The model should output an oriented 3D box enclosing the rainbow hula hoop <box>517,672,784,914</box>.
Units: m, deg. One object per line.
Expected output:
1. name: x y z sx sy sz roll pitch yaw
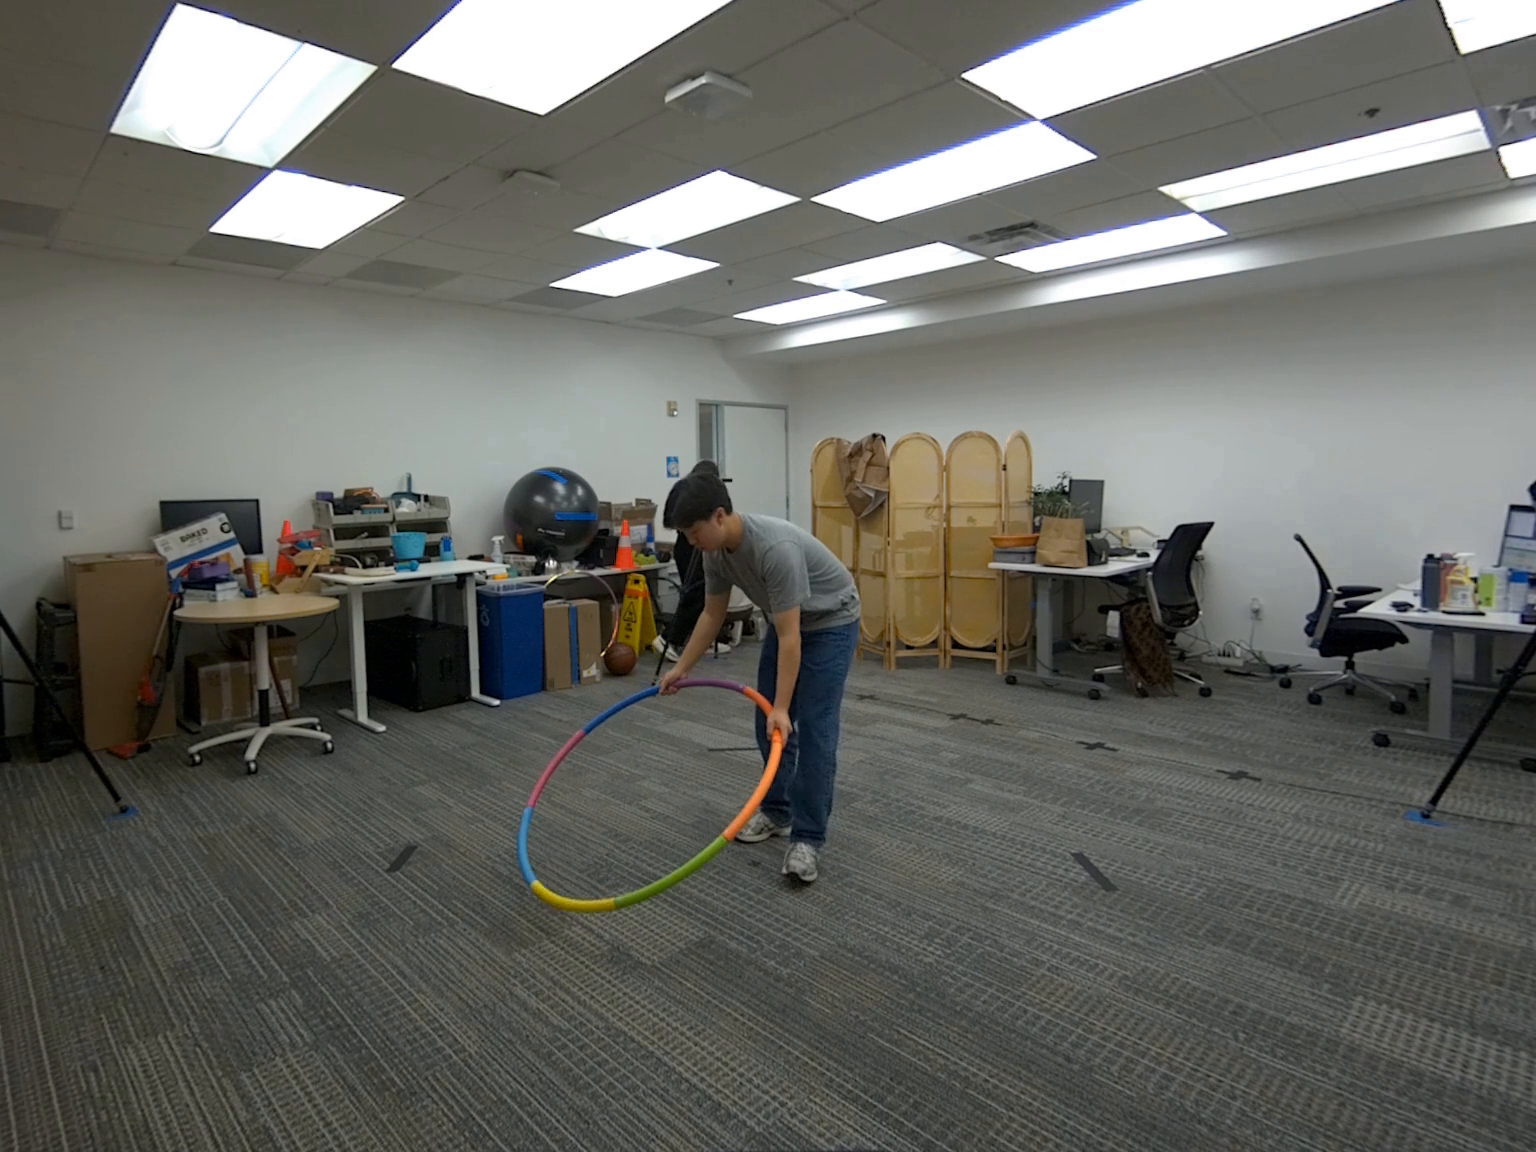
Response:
1. rainbow hula hoop: -0.414 0.703 2.875 0.984 0.034 1.002 -22 28 10
